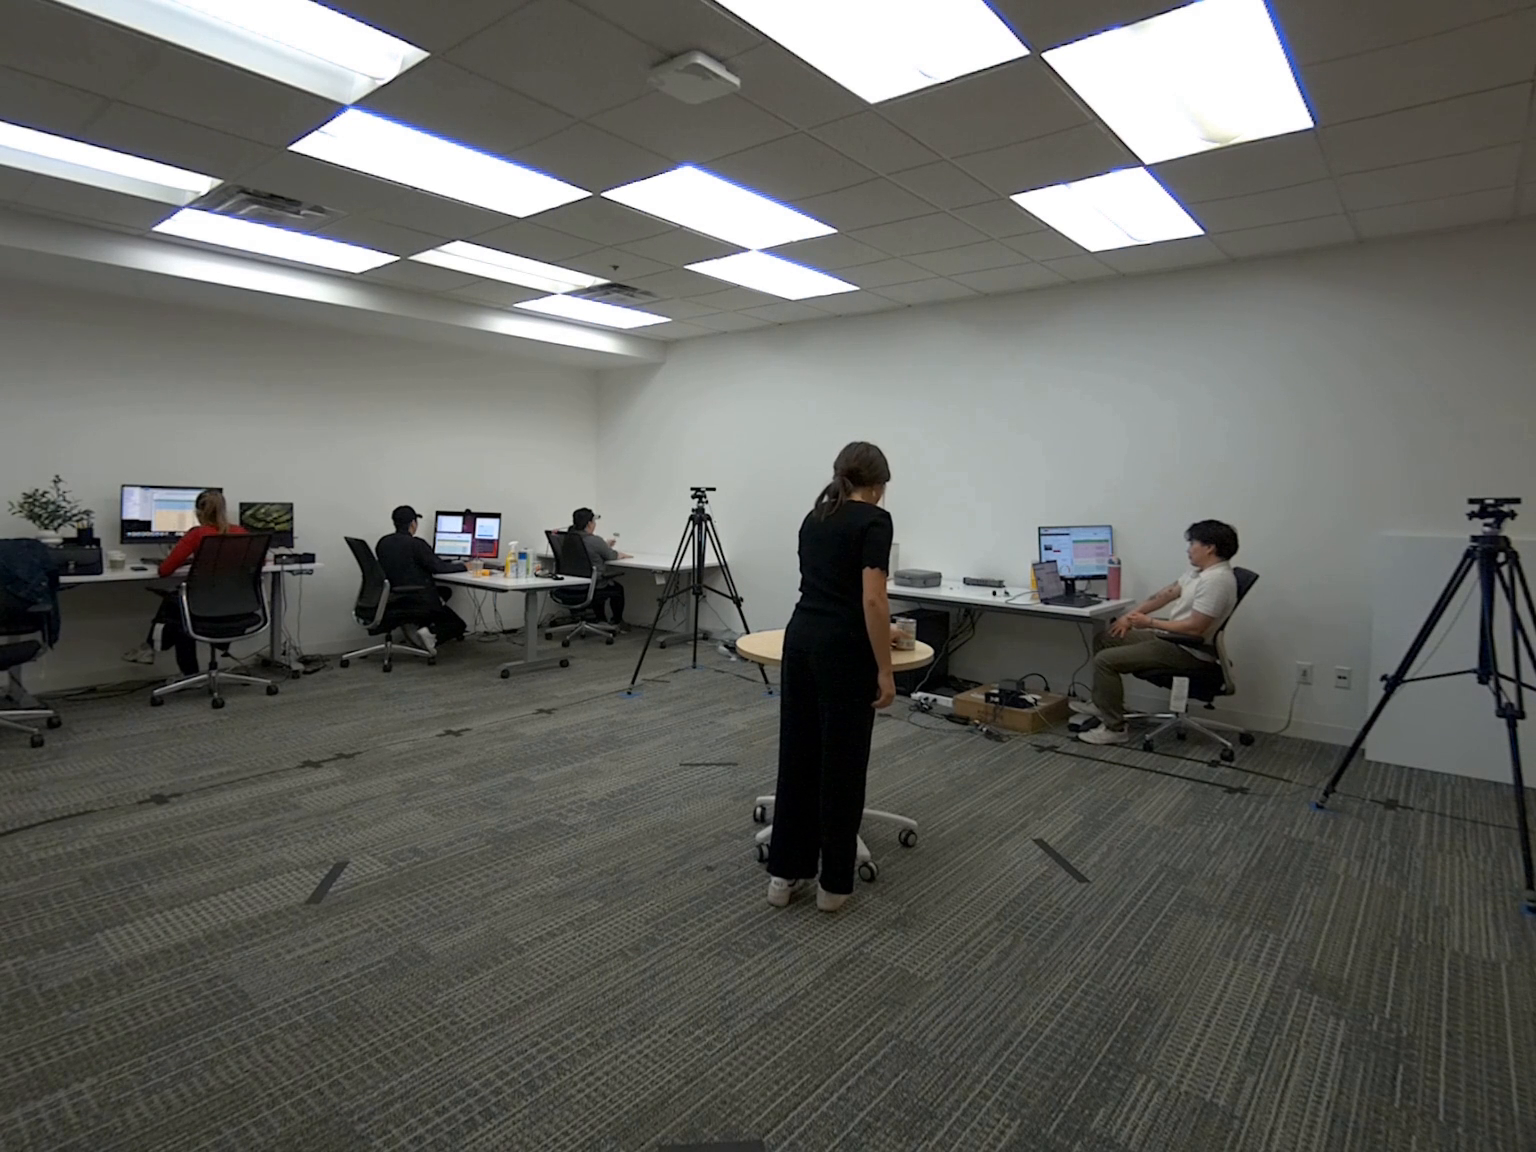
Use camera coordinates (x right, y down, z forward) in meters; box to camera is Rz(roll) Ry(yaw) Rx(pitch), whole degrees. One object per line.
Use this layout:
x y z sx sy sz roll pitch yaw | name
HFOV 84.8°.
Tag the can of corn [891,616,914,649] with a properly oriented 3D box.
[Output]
0.518 0.219 3.280 0.074 0.111 0.074 1 3 -2 | can of corn
